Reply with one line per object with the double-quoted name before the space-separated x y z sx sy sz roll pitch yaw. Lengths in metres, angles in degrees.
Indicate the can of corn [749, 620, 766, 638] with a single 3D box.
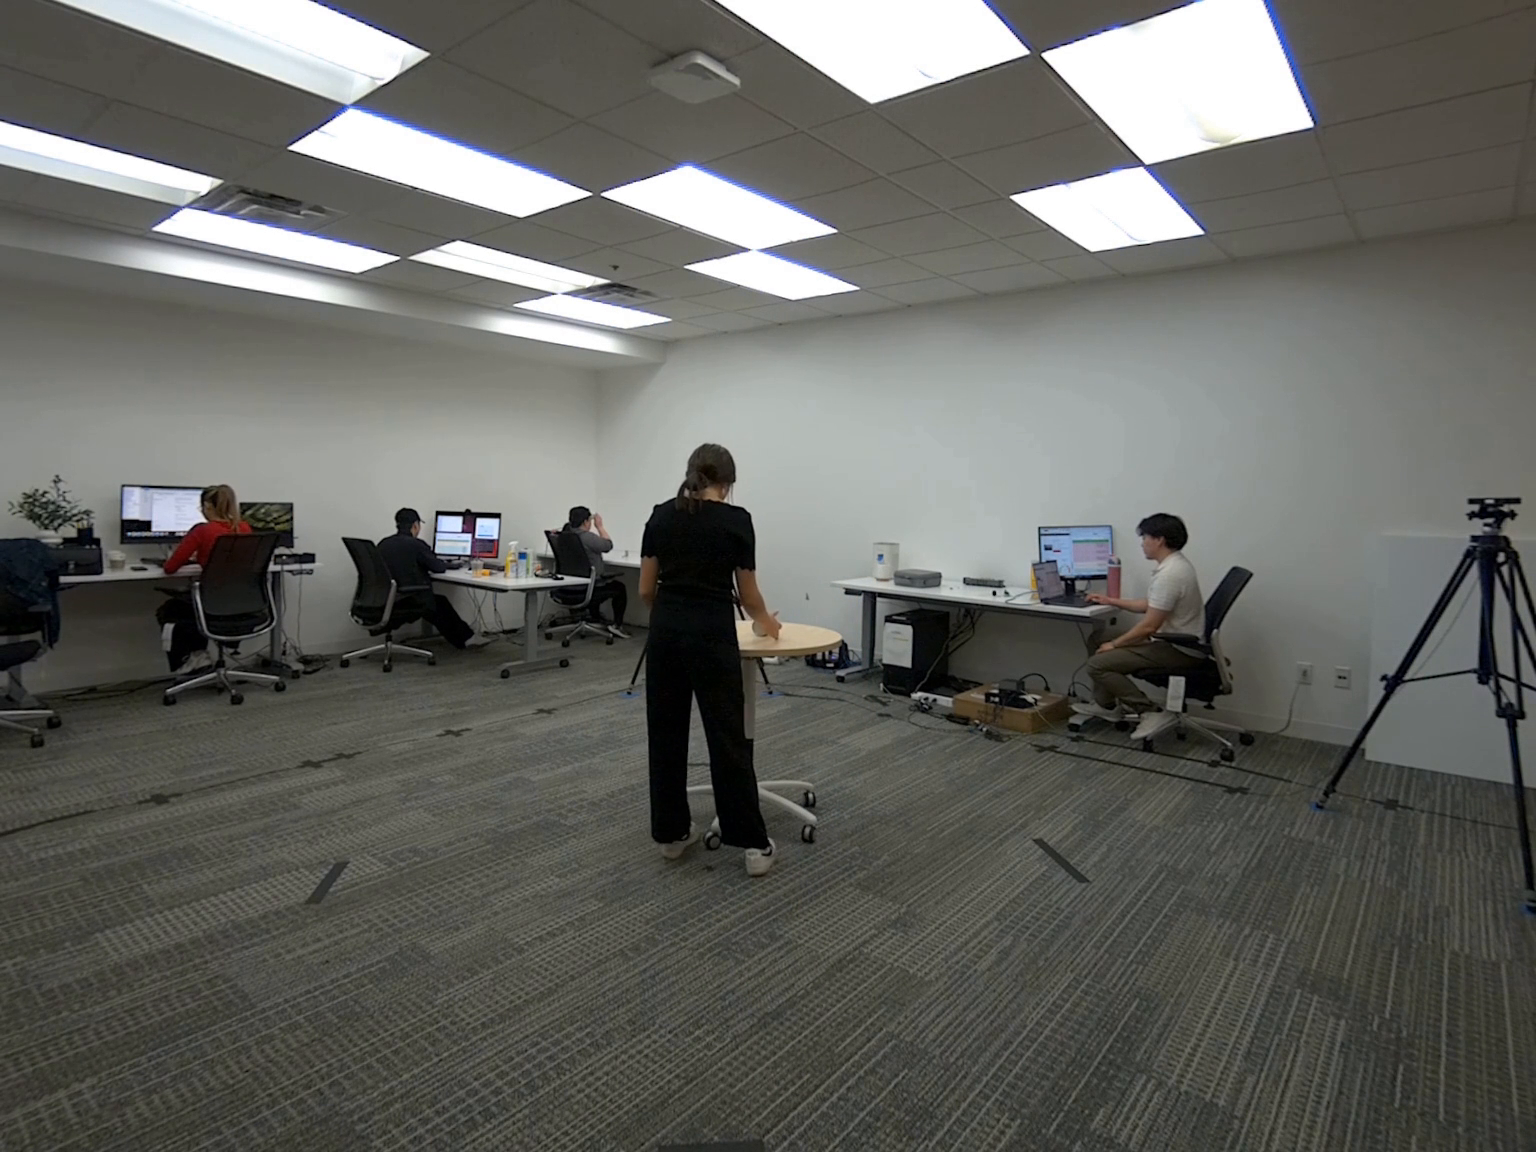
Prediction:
"can of corn" -0.035 0.199 3.552 0.075 0.074 0.110 2 6 12
